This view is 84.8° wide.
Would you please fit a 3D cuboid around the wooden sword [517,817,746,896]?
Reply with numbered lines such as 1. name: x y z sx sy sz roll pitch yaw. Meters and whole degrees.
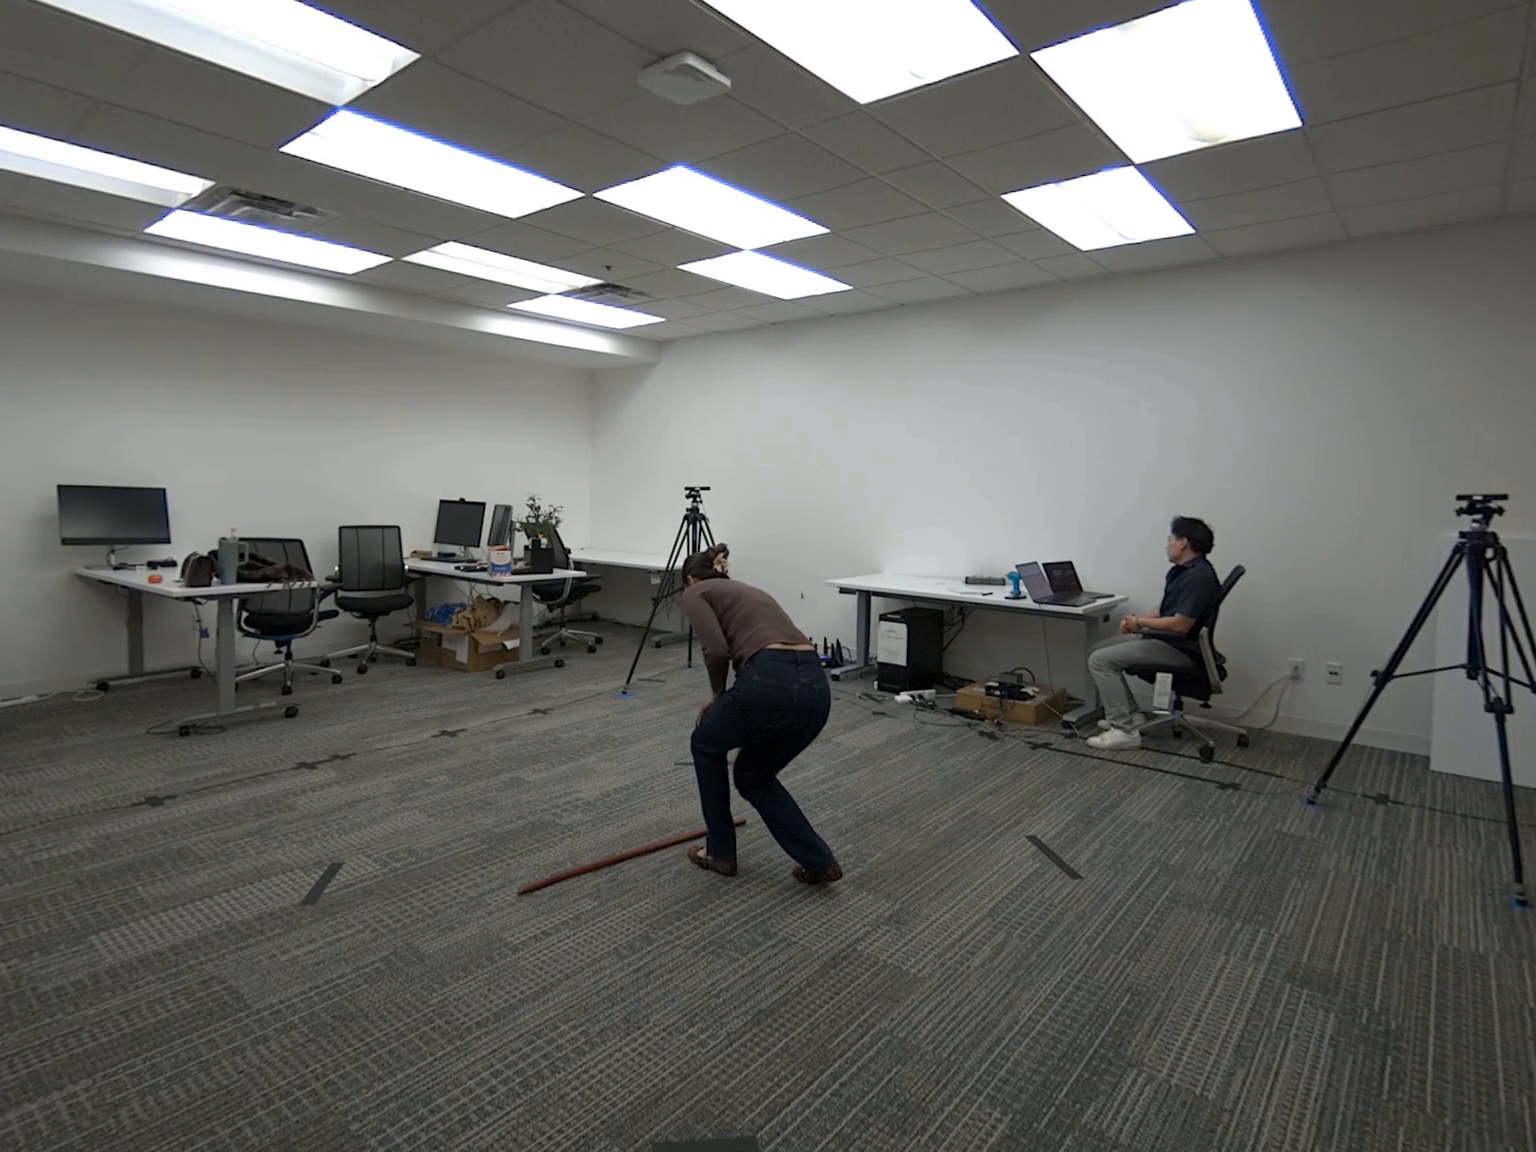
1. wooden sword: -0.482 1.030 3.206 0.995 0.025 0.051 -5 -34 -41
